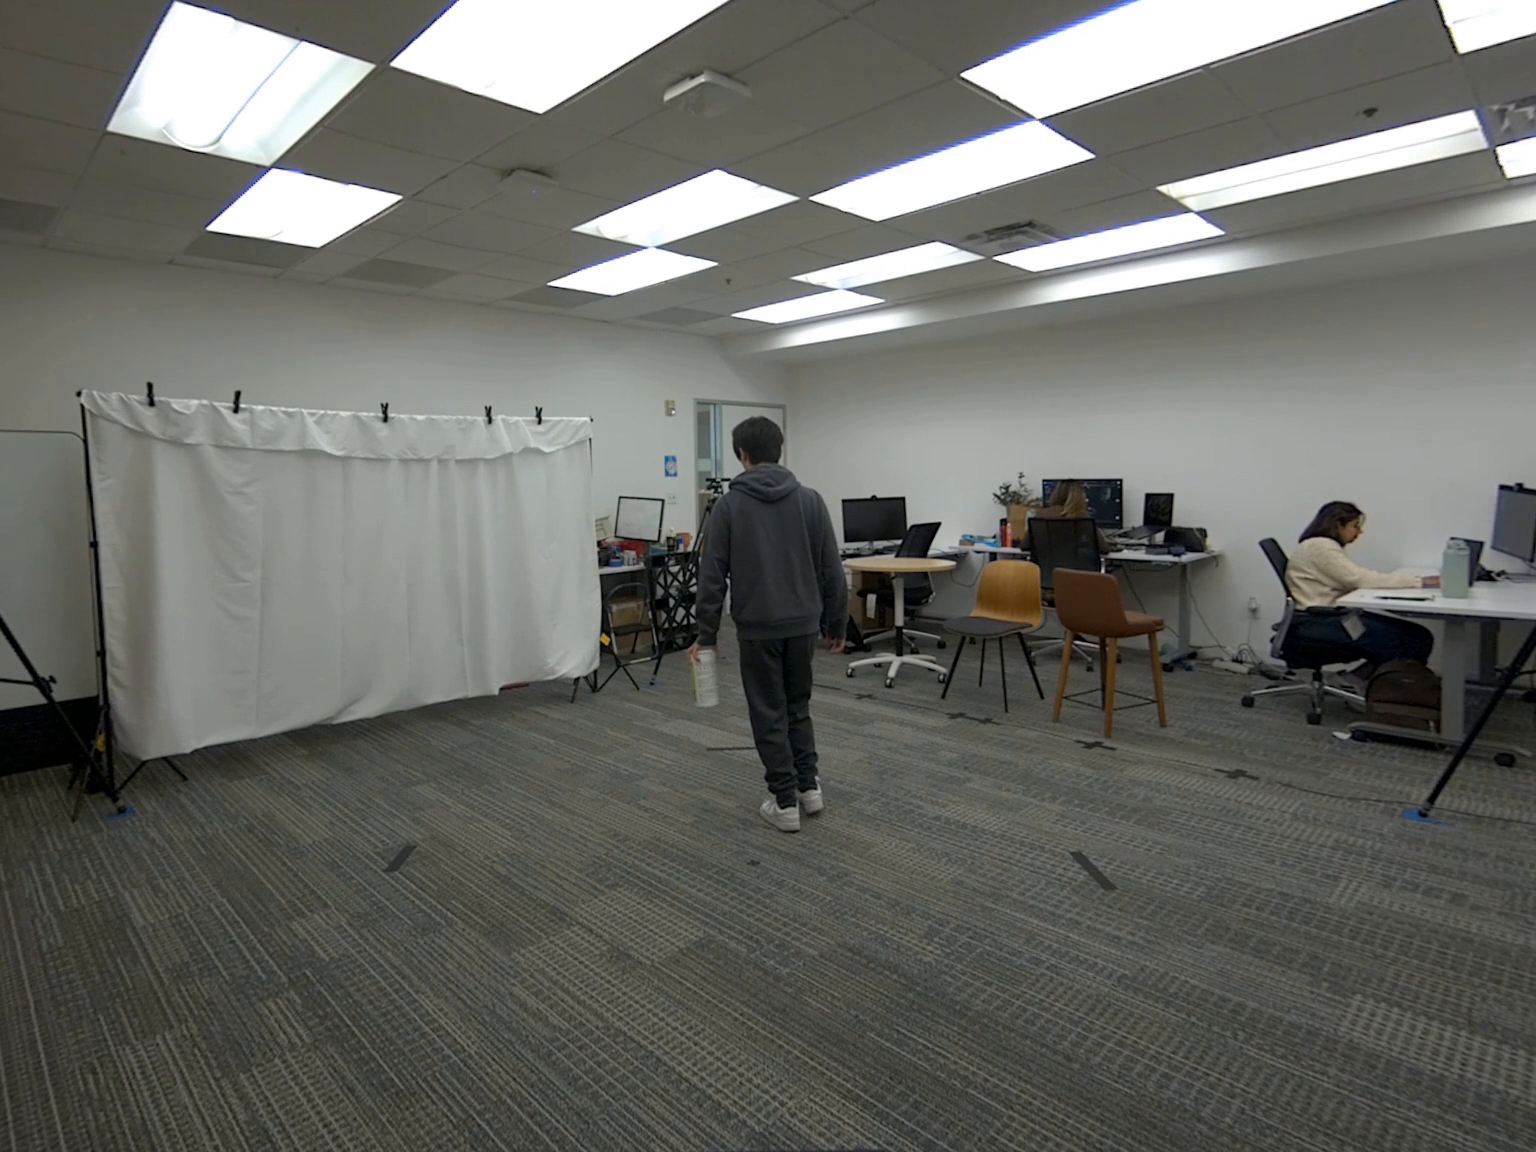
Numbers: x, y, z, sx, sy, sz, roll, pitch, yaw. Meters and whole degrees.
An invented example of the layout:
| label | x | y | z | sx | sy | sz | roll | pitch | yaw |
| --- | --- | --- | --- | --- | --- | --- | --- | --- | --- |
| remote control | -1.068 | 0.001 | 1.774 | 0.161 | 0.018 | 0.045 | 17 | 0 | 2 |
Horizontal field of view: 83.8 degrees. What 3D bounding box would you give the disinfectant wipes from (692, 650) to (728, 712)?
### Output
| label | x | y | z | sx | sy | sz | roll | pitch | yaw |
| --- | --- | --- | --- | --- | --- | --- | --- | --- | --- |
| disinfectant wipes | -0.238 | 0.420 | 3.474 | 0.118 | 0.218 | 0.118 | -6 | -1 | -2 |
